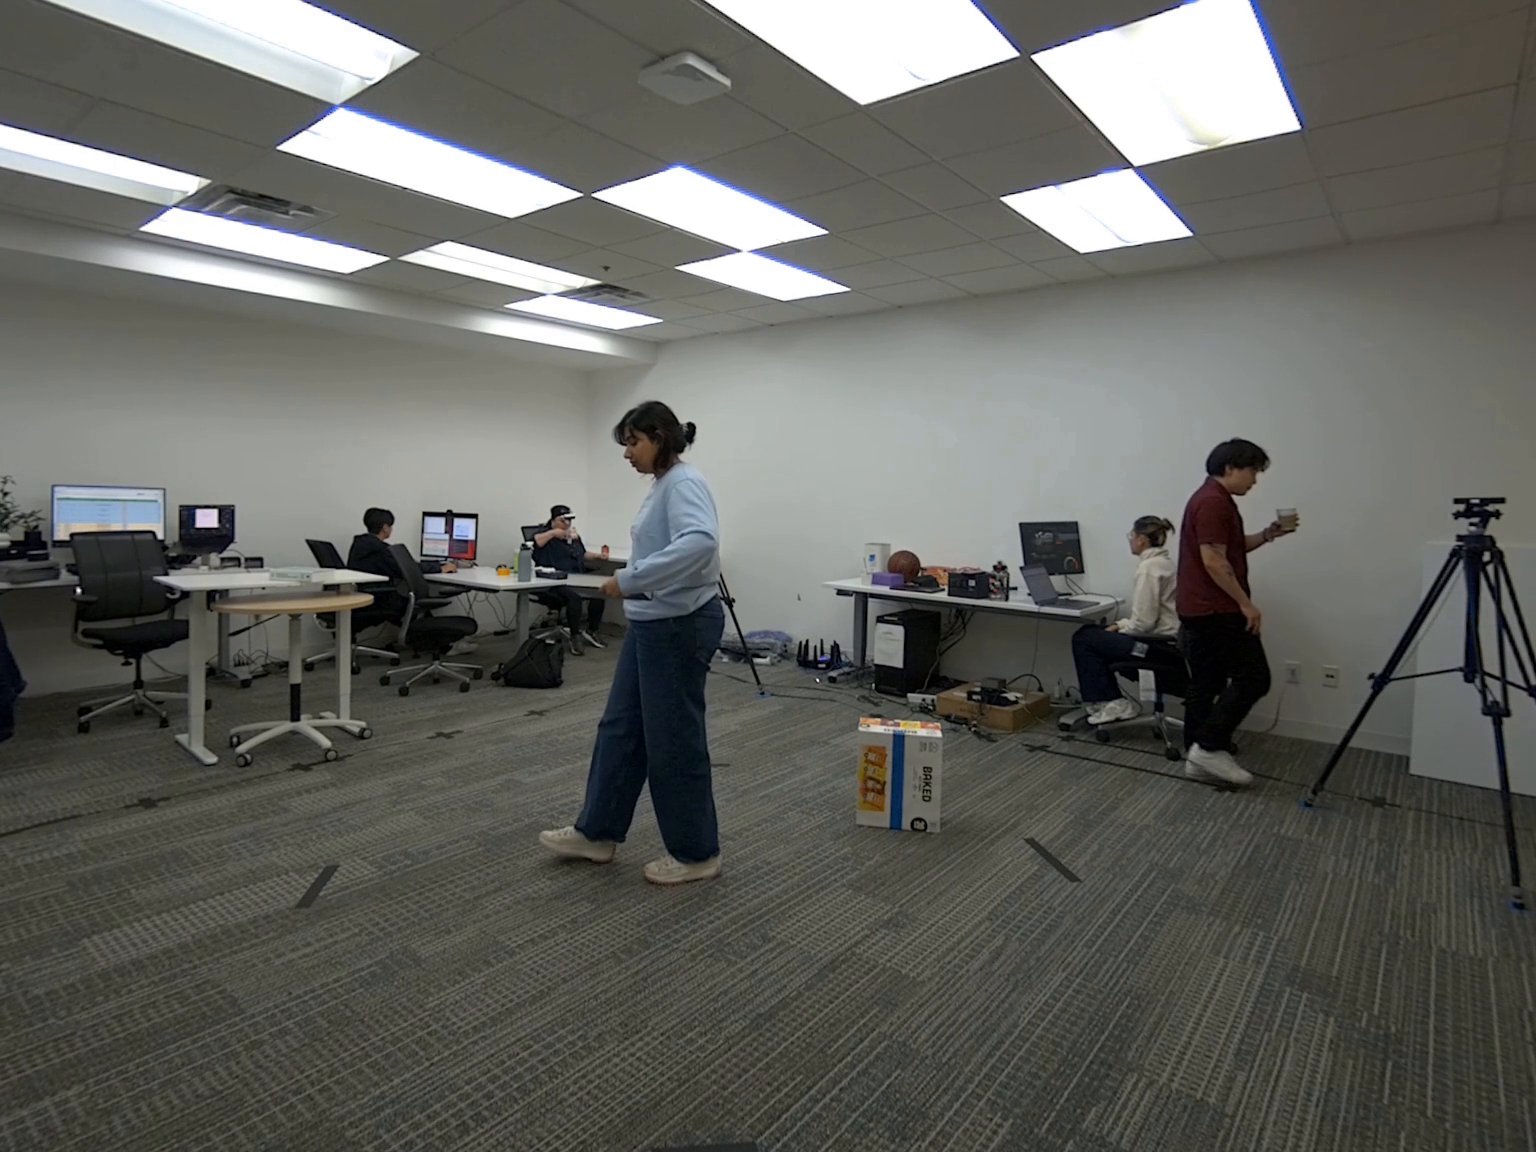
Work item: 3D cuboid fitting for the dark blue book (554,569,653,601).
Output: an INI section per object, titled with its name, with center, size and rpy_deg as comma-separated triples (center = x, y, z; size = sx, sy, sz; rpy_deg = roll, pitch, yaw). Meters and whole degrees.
[dark blue book]
center = -0.529, 0.032, 2.732
size = 0.247, 0.046, 0.160
rpy_deg = 5, -14, 6
